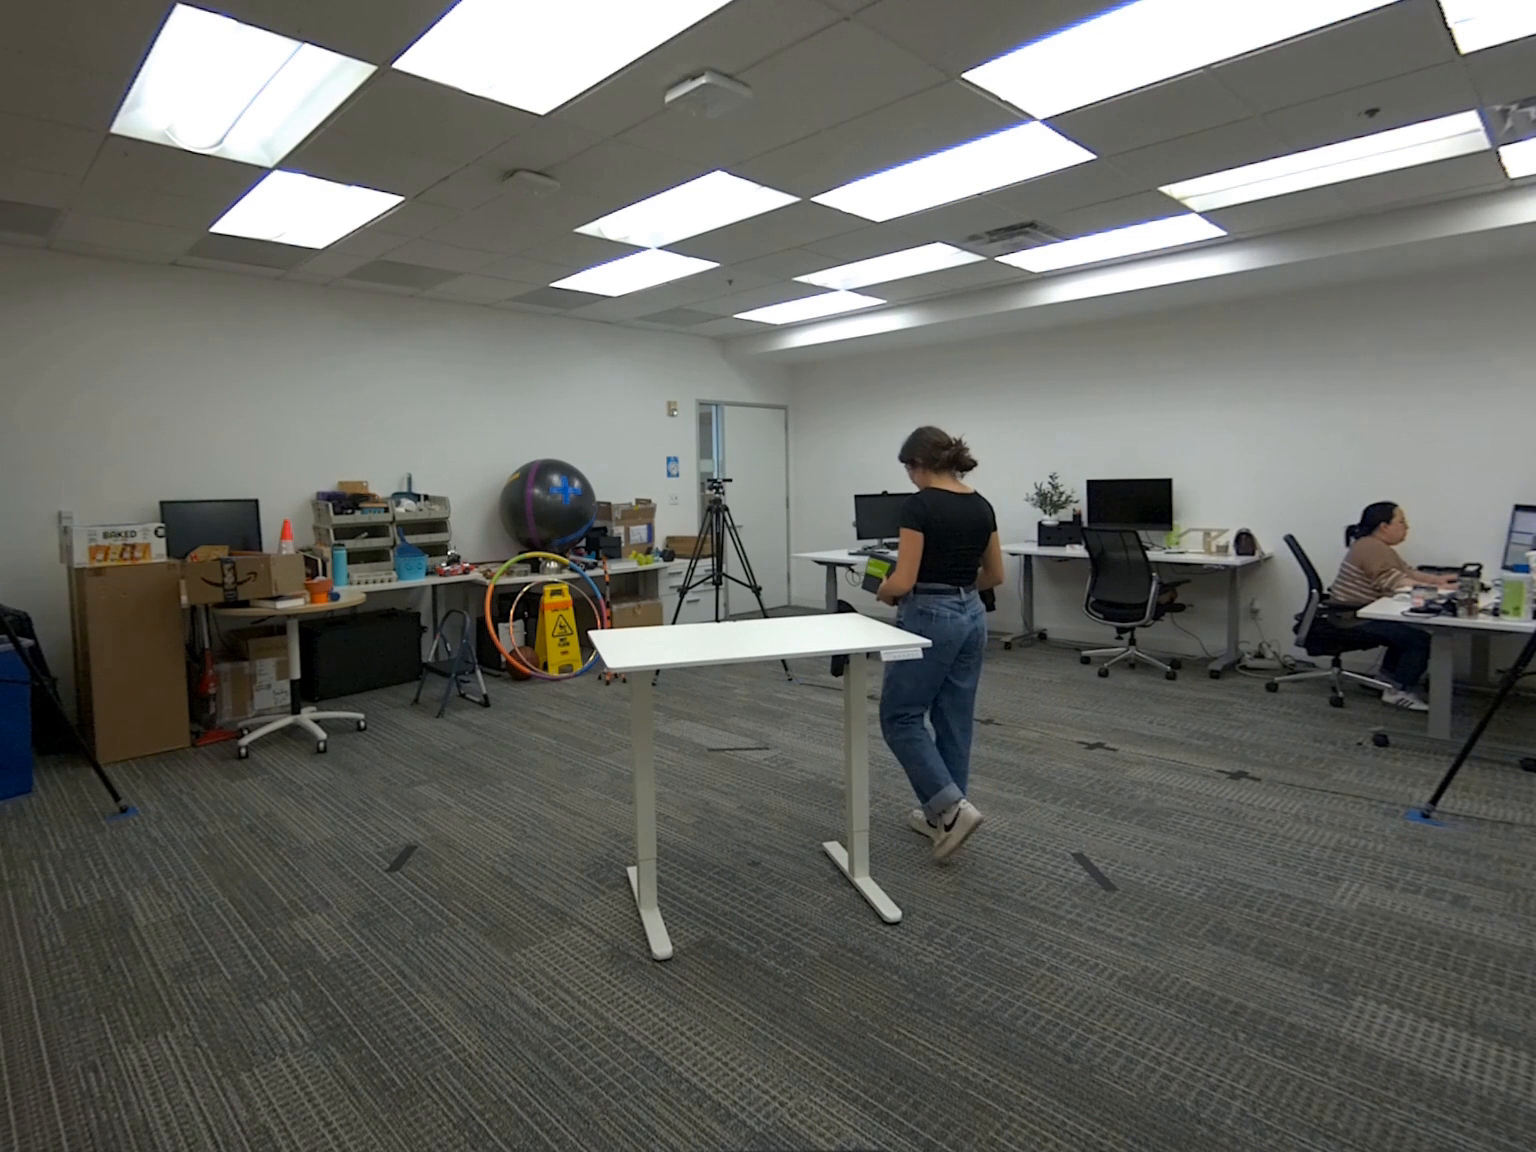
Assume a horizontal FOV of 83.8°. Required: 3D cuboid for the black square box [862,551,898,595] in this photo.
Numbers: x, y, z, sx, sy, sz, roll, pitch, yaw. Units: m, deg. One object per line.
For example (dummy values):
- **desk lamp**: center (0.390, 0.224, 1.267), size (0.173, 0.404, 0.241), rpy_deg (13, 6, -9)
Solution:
- **black square box**: center (0.550, 0.015, 3.433), size (0.210, 0.155, 0.236), rpy_deg (9, 8, -35)
